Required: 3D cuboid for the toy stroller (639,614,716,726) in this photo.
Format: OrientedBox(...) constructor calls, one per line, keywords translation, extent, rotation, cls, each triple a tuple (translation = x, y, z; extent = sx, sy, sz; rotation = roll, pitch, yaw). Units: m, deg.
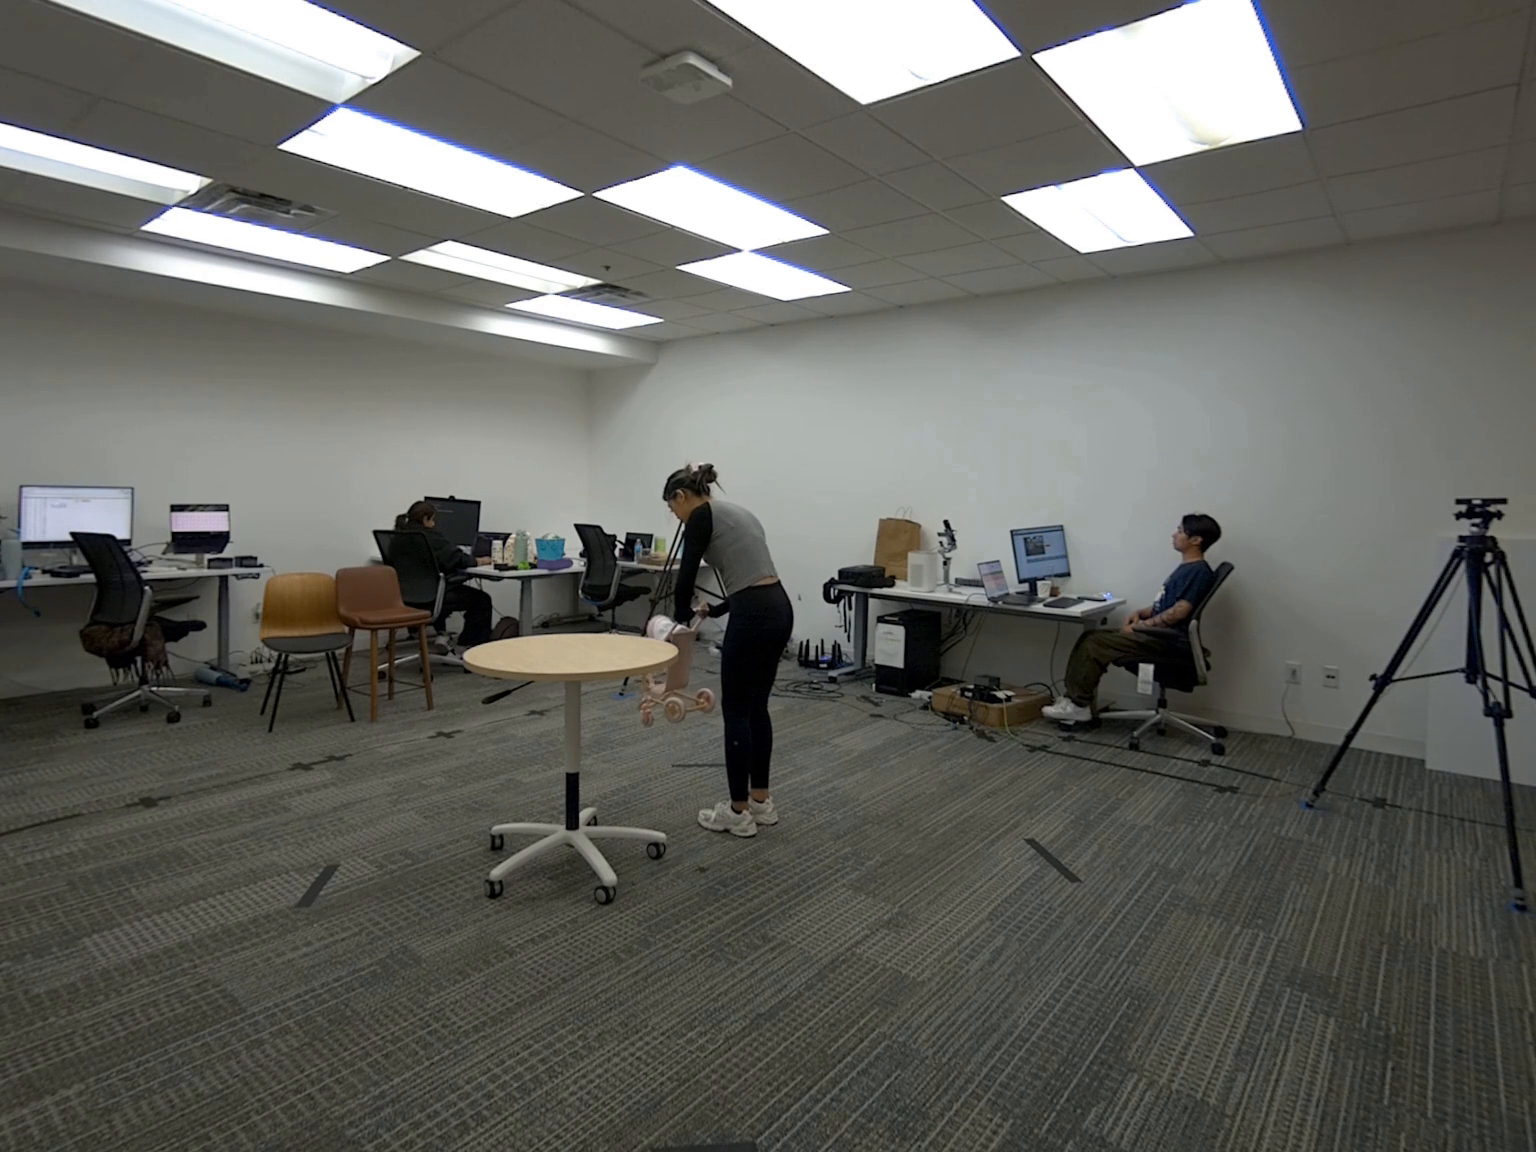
OrientedBox(translation=(-0.452, 0.408, 3.763), extent=(0.351, 0.536, 0.273), rotation=(-2, -1, 33), cls="toy stroller")
